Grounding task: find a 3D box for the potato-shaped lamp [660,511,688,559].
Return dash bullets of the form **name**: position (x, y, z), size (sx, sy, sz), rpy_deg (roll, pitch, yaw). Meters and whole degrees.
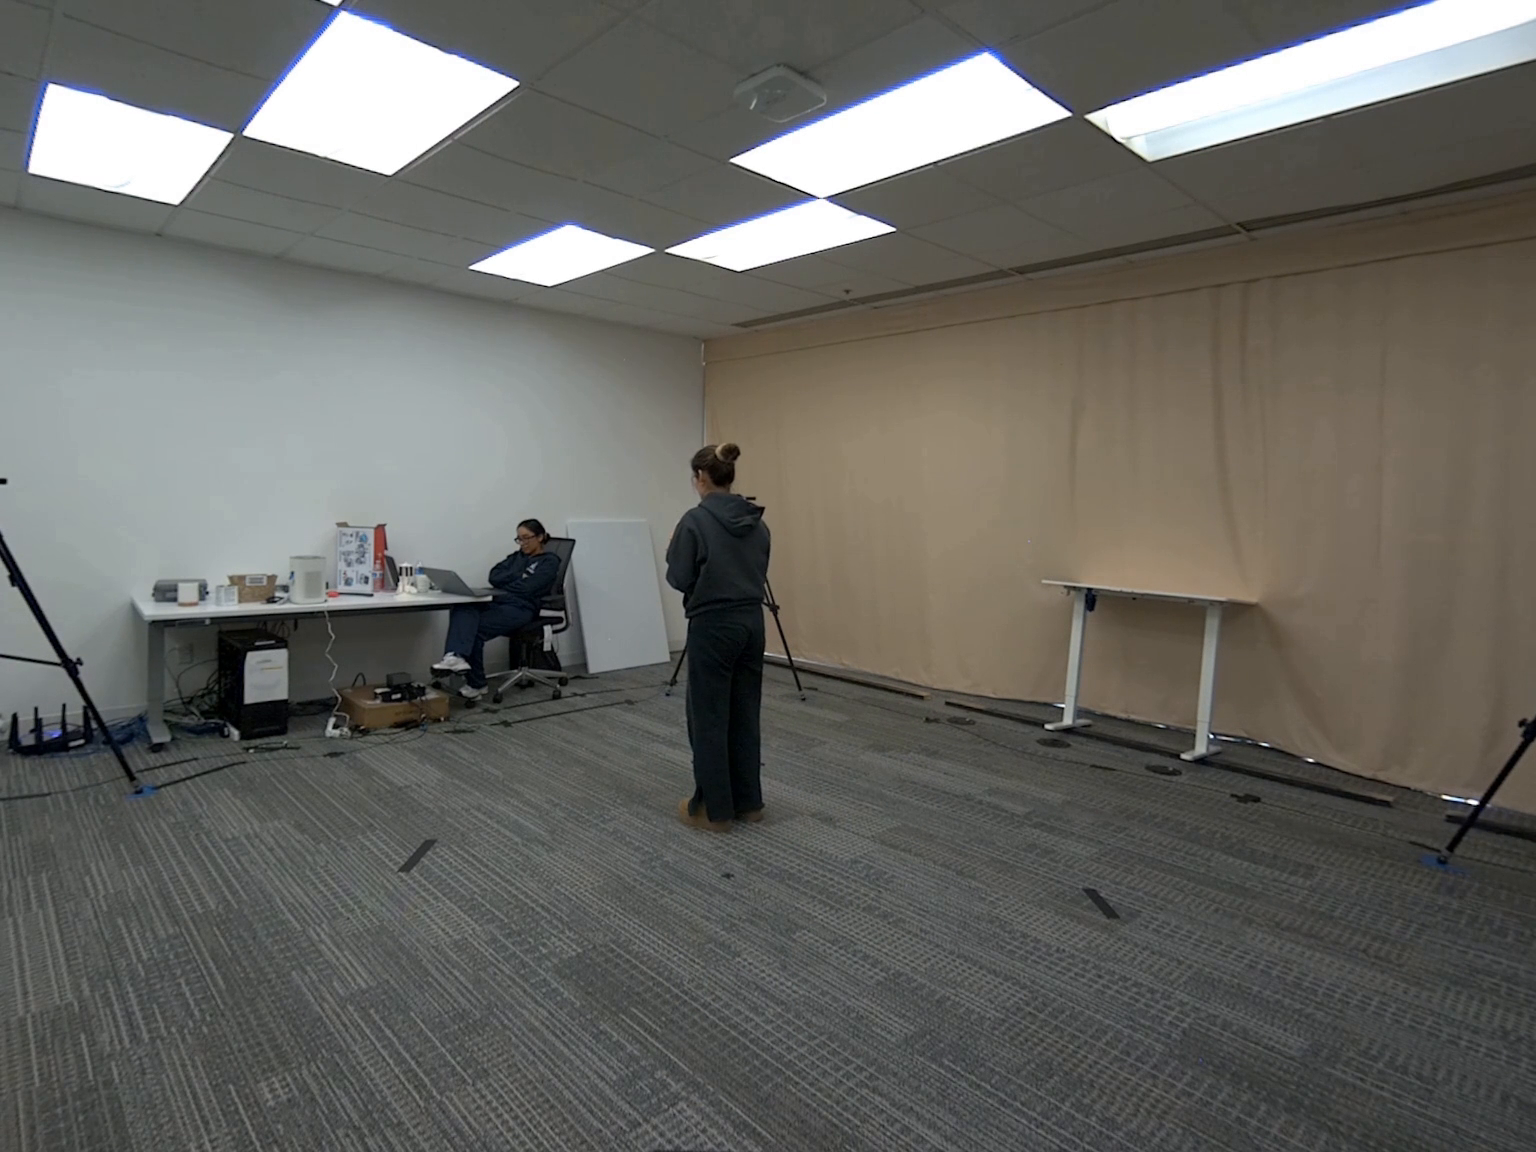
- **potato-shaped lamp**: position (-0.364, -0.170, 3.799), size (0.161, 0.196, 0.177), rpy_deg (-5, 20, -37)
